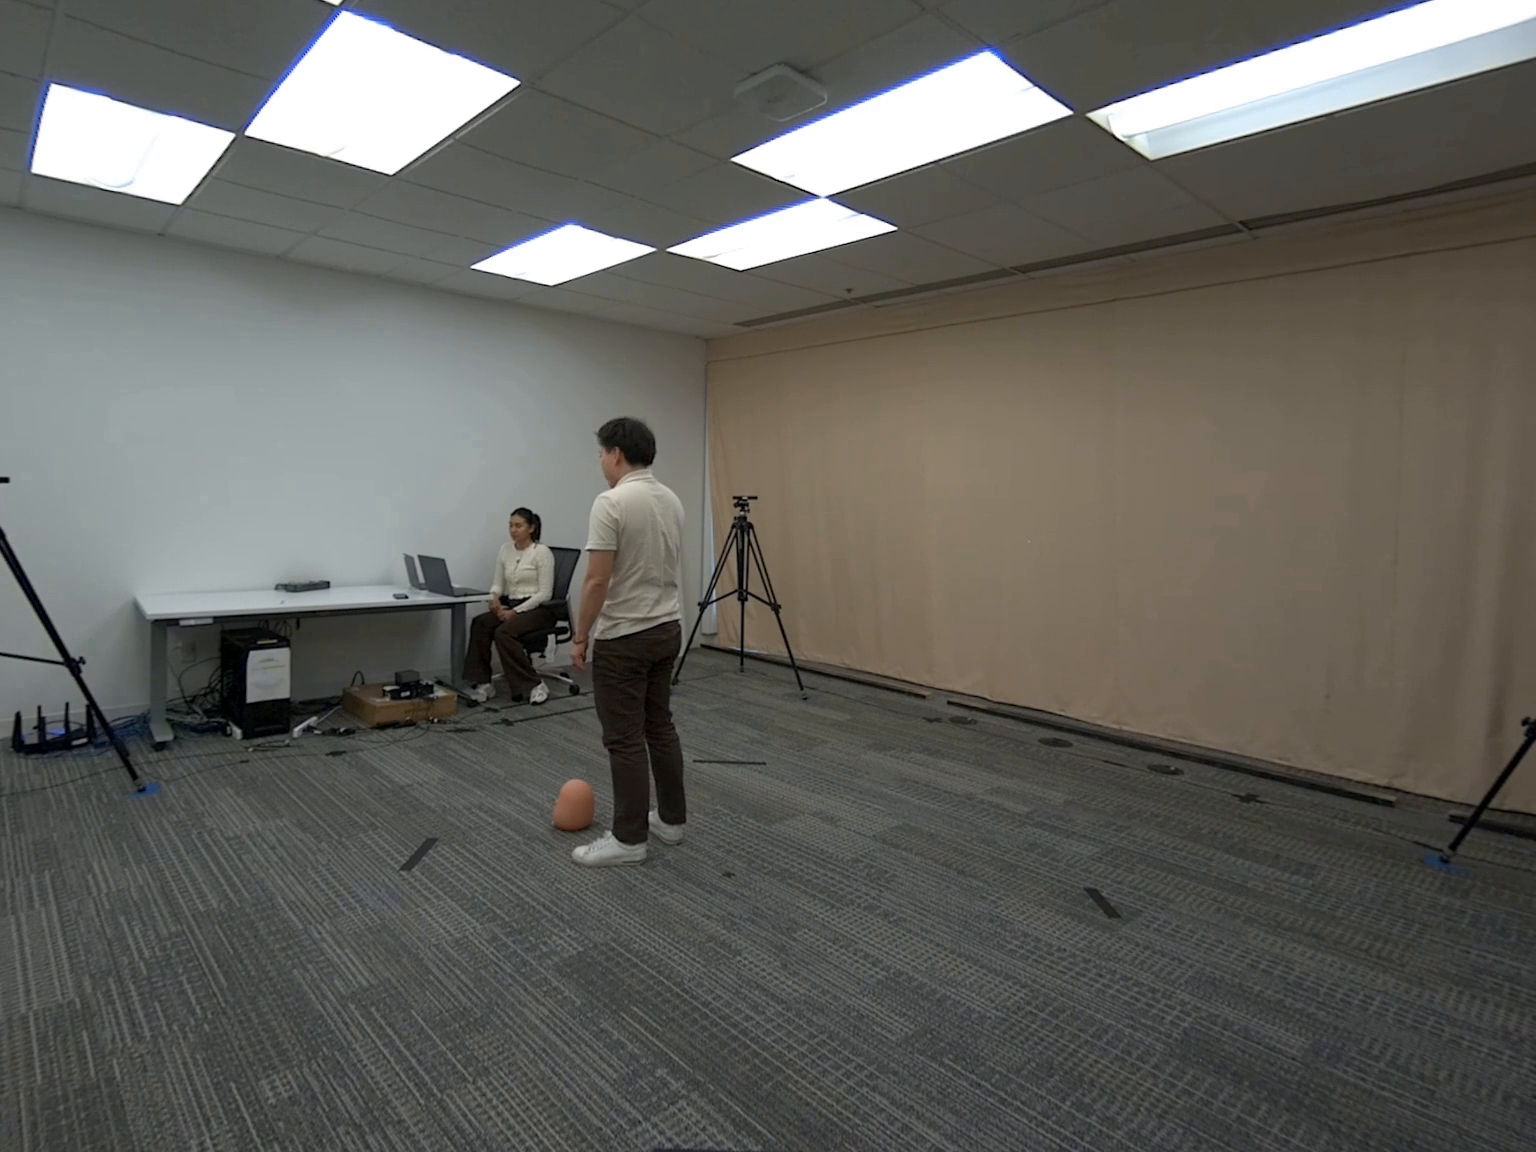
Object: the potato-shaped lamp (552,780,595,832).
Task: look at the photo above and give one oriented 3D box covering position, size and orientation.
[{"bbox_3d":[-0.818,0.950,3.523,0.175,0.198,0.161,4,1,34],"label":"potato-shaped lamp"}]
